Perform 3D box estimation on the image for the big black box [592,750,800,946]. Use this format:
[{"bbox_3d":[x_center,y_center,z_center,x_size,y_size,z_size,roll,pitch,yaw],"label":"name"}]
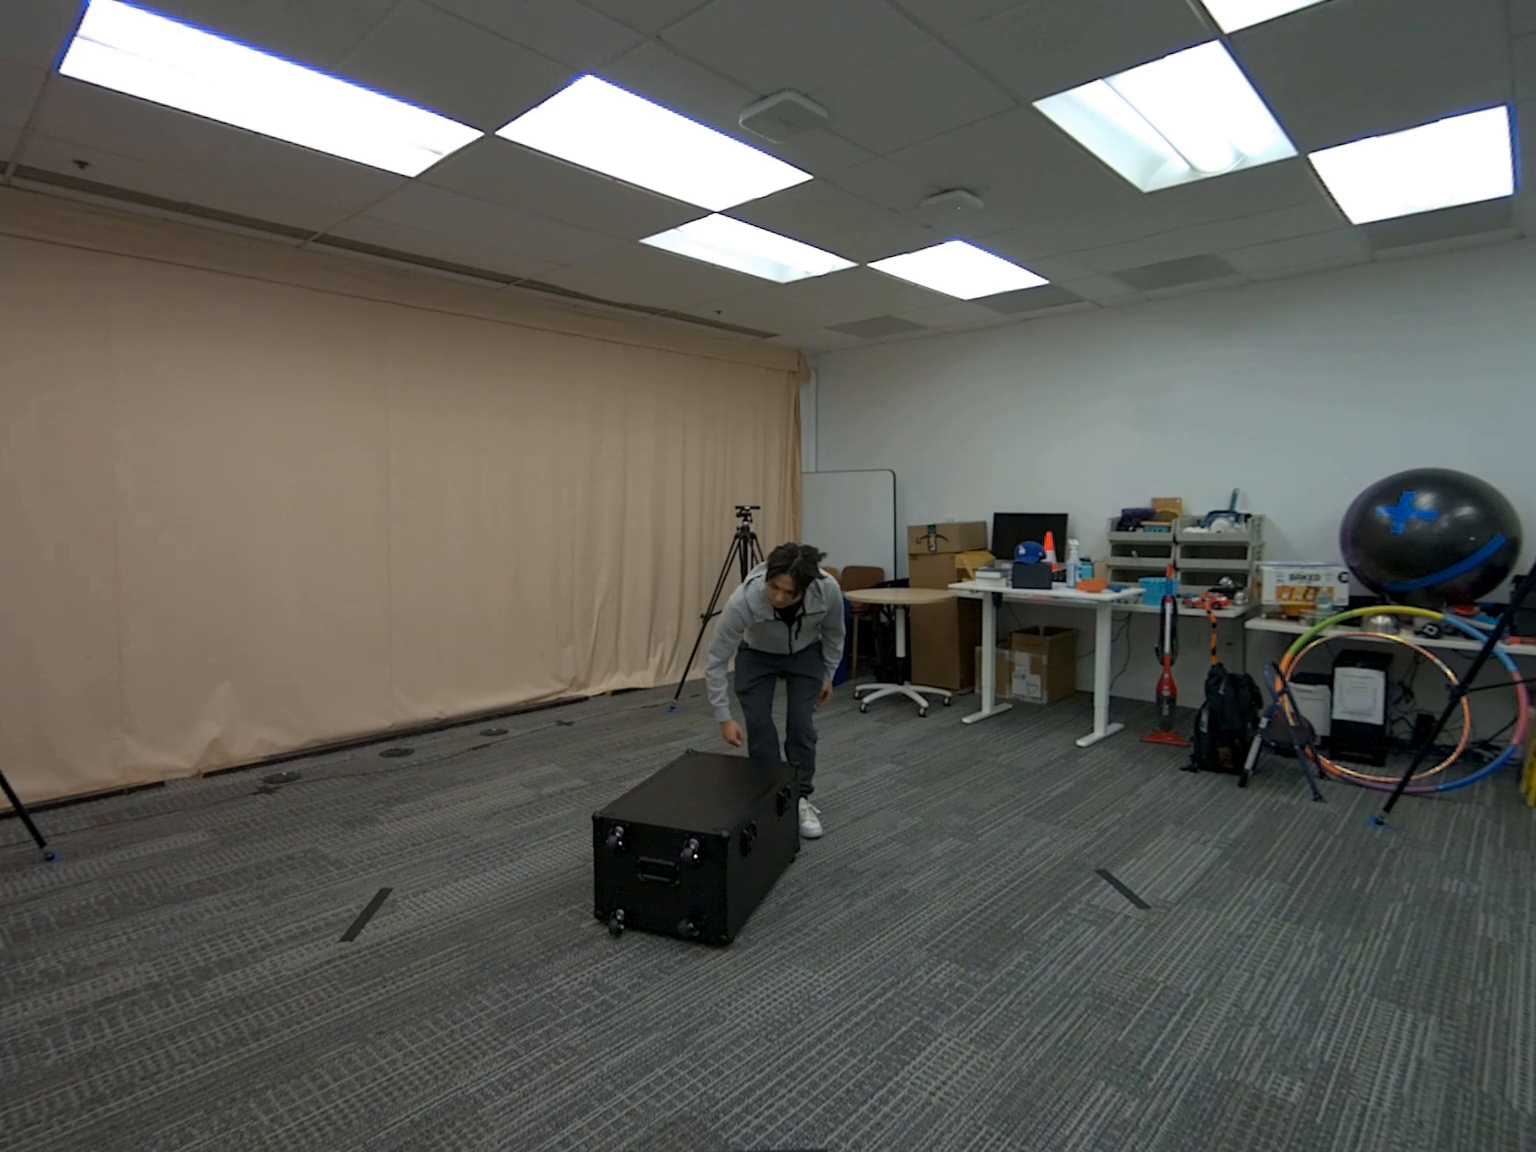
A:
[{"bbox_3d":[-0.216,0.945,3.087,0.533,0.395,0.845,2,6,20],"label":"big black box"}]
